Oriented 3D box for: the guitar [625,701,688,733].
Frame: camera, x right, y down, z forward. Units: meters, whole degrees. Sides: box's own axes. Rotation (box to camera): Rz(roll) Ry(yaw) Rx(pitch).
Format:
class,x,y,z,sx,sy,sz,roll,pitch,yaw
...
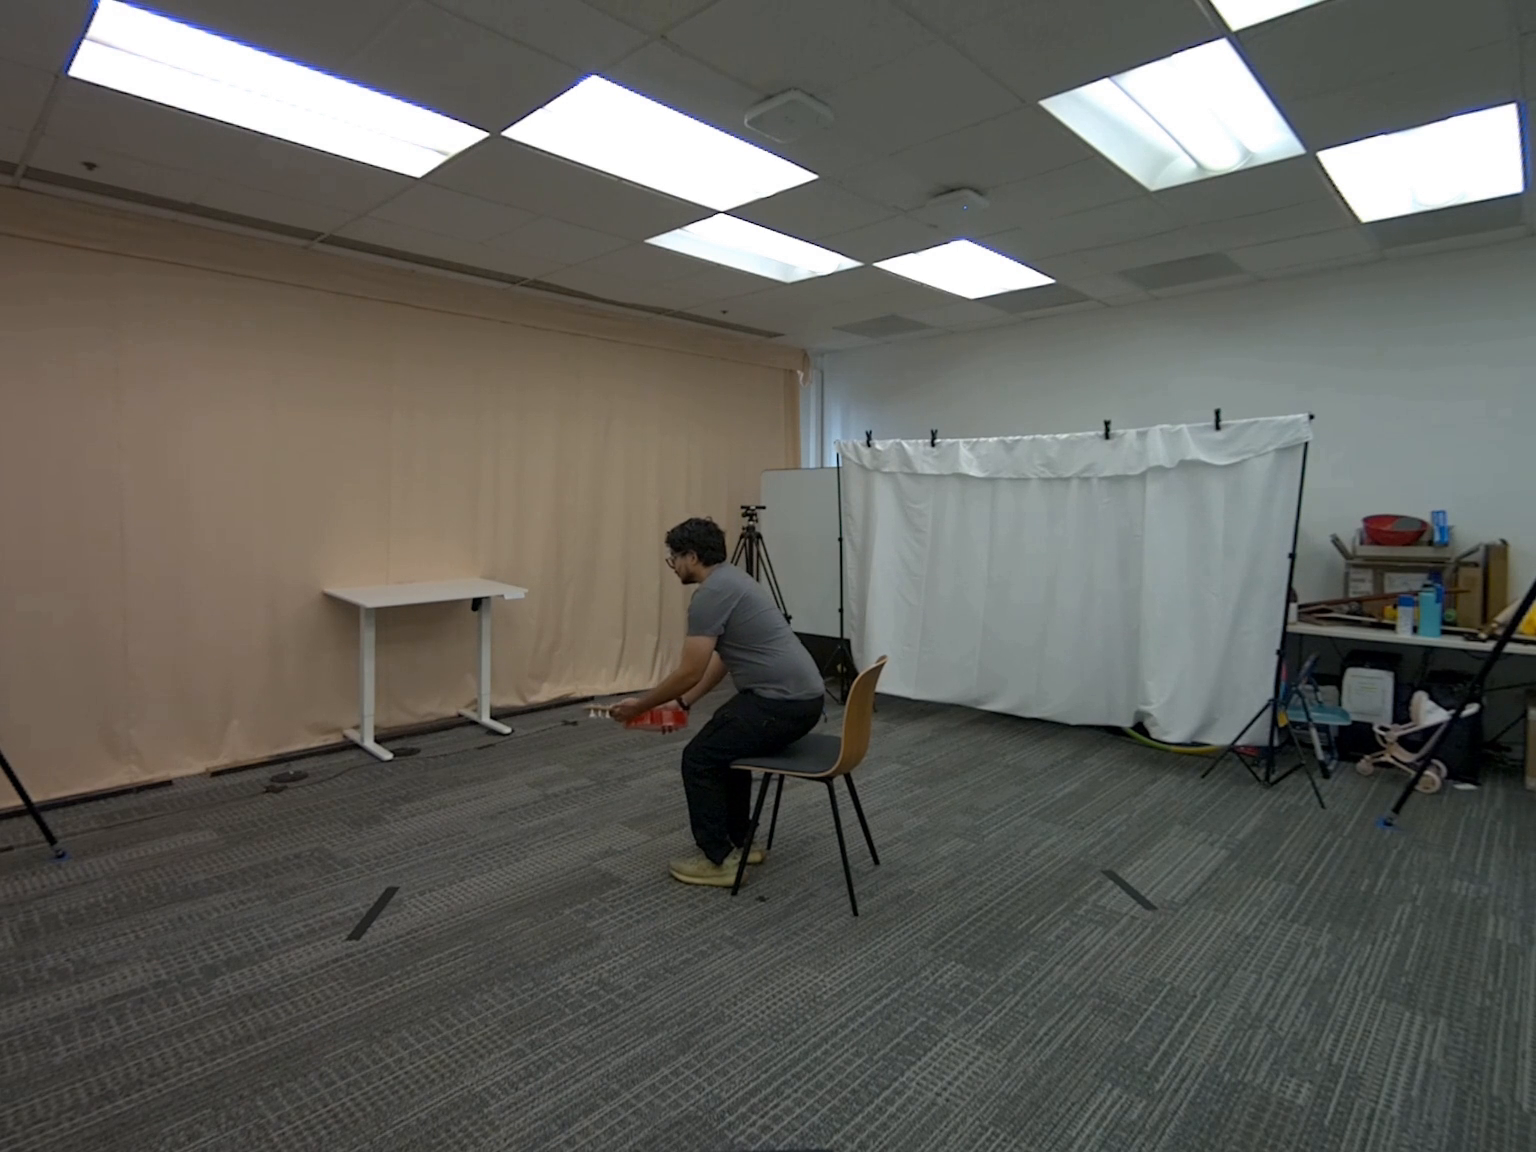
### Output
class,x,y,z,sx,sy,sz,roll,pitch,yaw
guitar,-0.540,0.565,3.307,0.481,0.071,0.197,11,-20,-41
